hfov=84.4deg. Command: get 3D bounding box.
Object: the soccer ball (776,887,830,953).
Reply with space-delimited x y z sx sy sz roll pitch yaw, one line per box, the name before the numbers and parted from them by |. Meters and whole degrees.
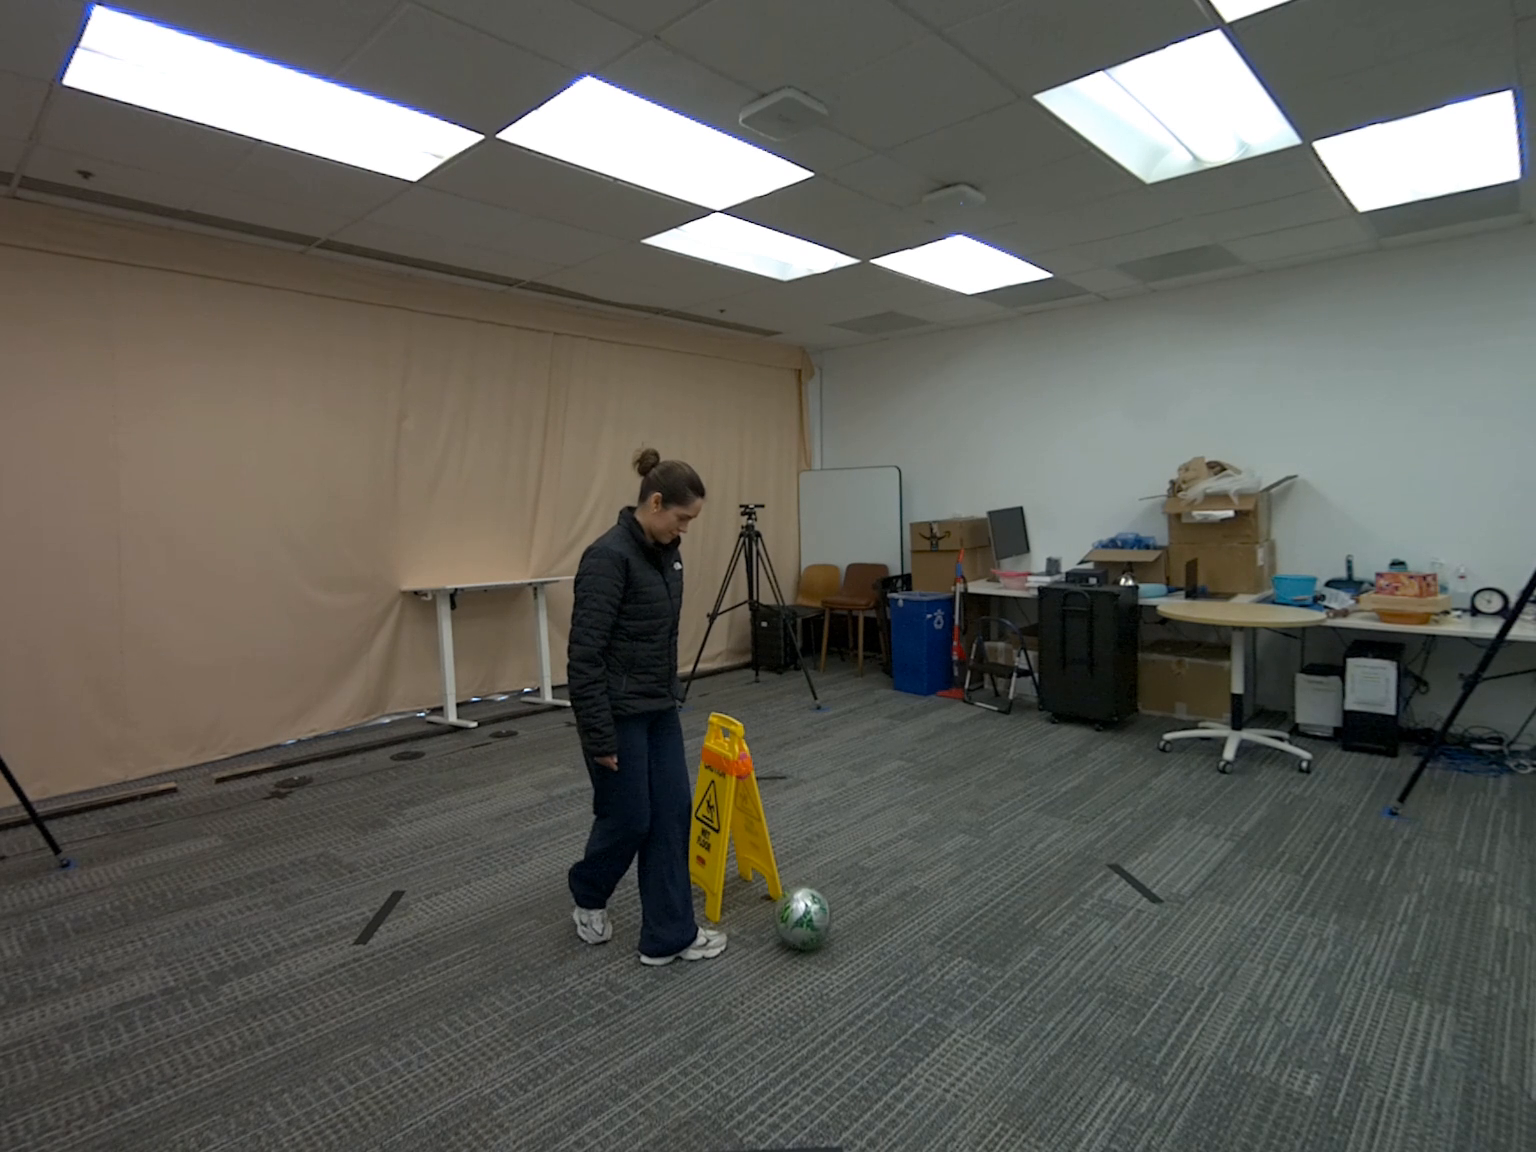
soccer ball | 0.113 1.069 2.634 0.187 0.187 0.188 -1 4 -2
